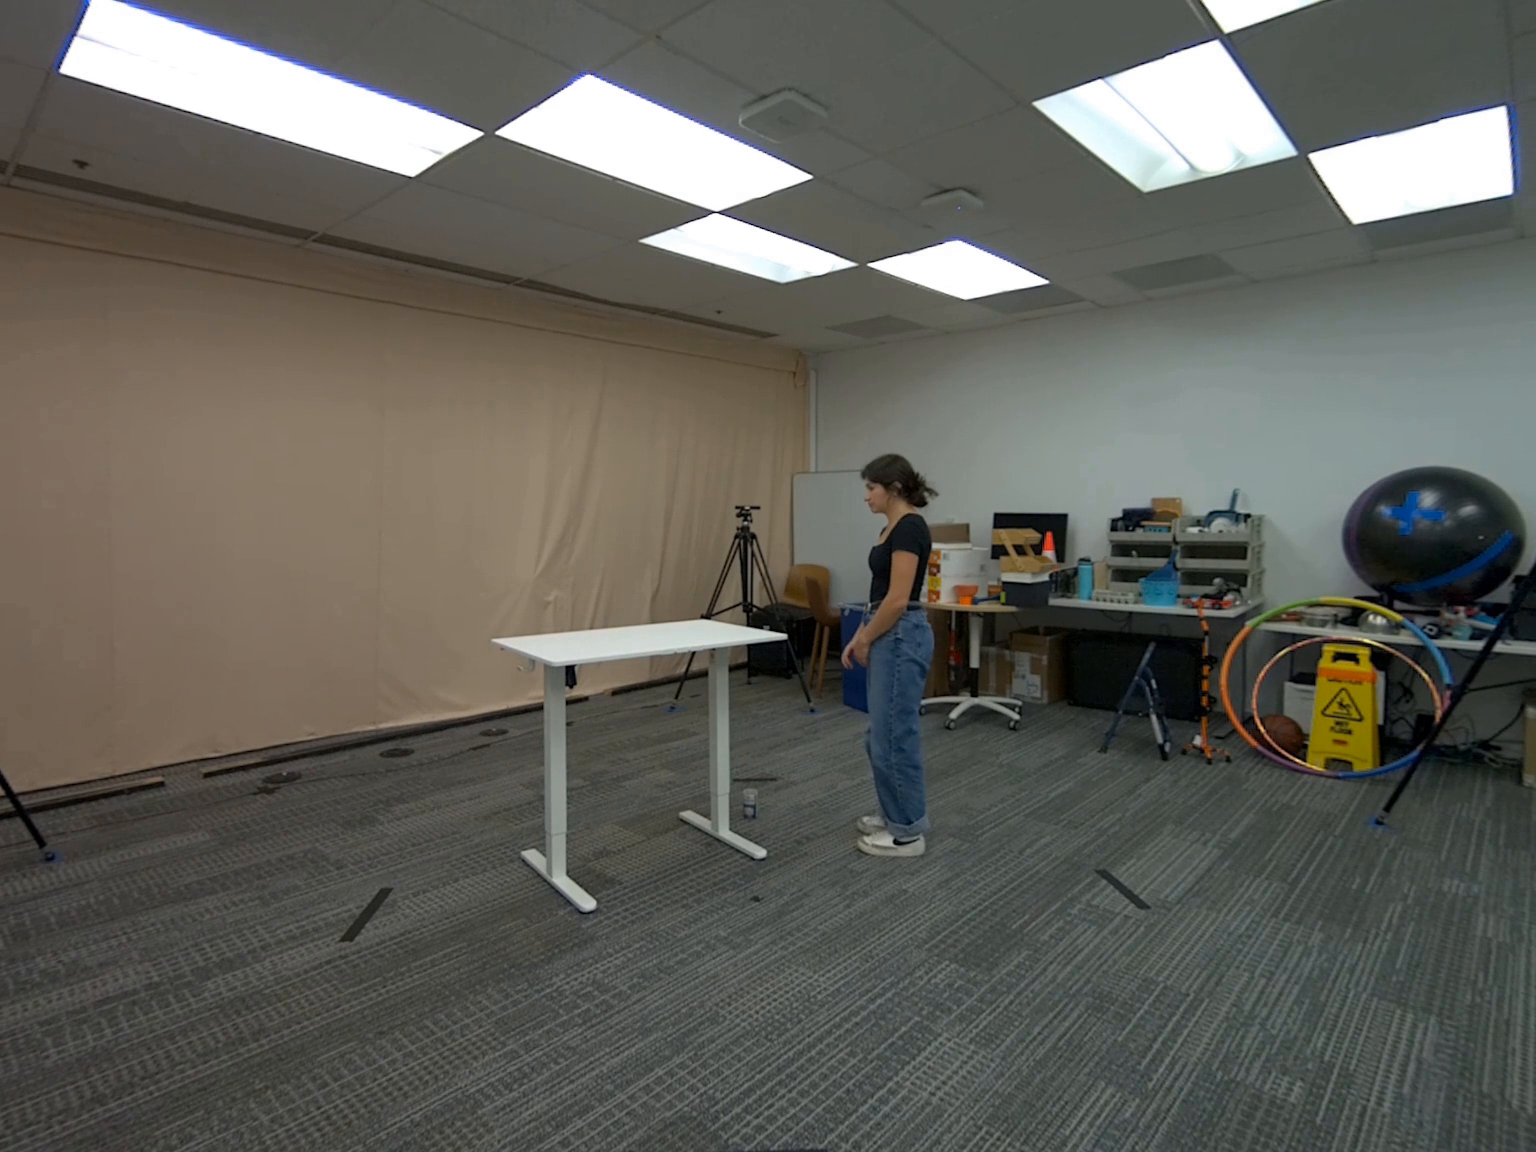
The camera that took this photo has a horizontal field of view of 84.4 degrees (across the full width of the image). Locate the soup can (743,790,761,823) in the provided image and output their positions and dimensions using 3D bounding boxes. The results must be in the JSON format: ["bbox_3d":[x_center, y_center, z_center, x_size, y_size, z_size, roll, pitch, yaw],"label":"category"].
[{"bbox_3d":[-0.075,1.023,3.769,0.067,0.121,0.067,-2,-1,-2],"label":"soup can"}]
